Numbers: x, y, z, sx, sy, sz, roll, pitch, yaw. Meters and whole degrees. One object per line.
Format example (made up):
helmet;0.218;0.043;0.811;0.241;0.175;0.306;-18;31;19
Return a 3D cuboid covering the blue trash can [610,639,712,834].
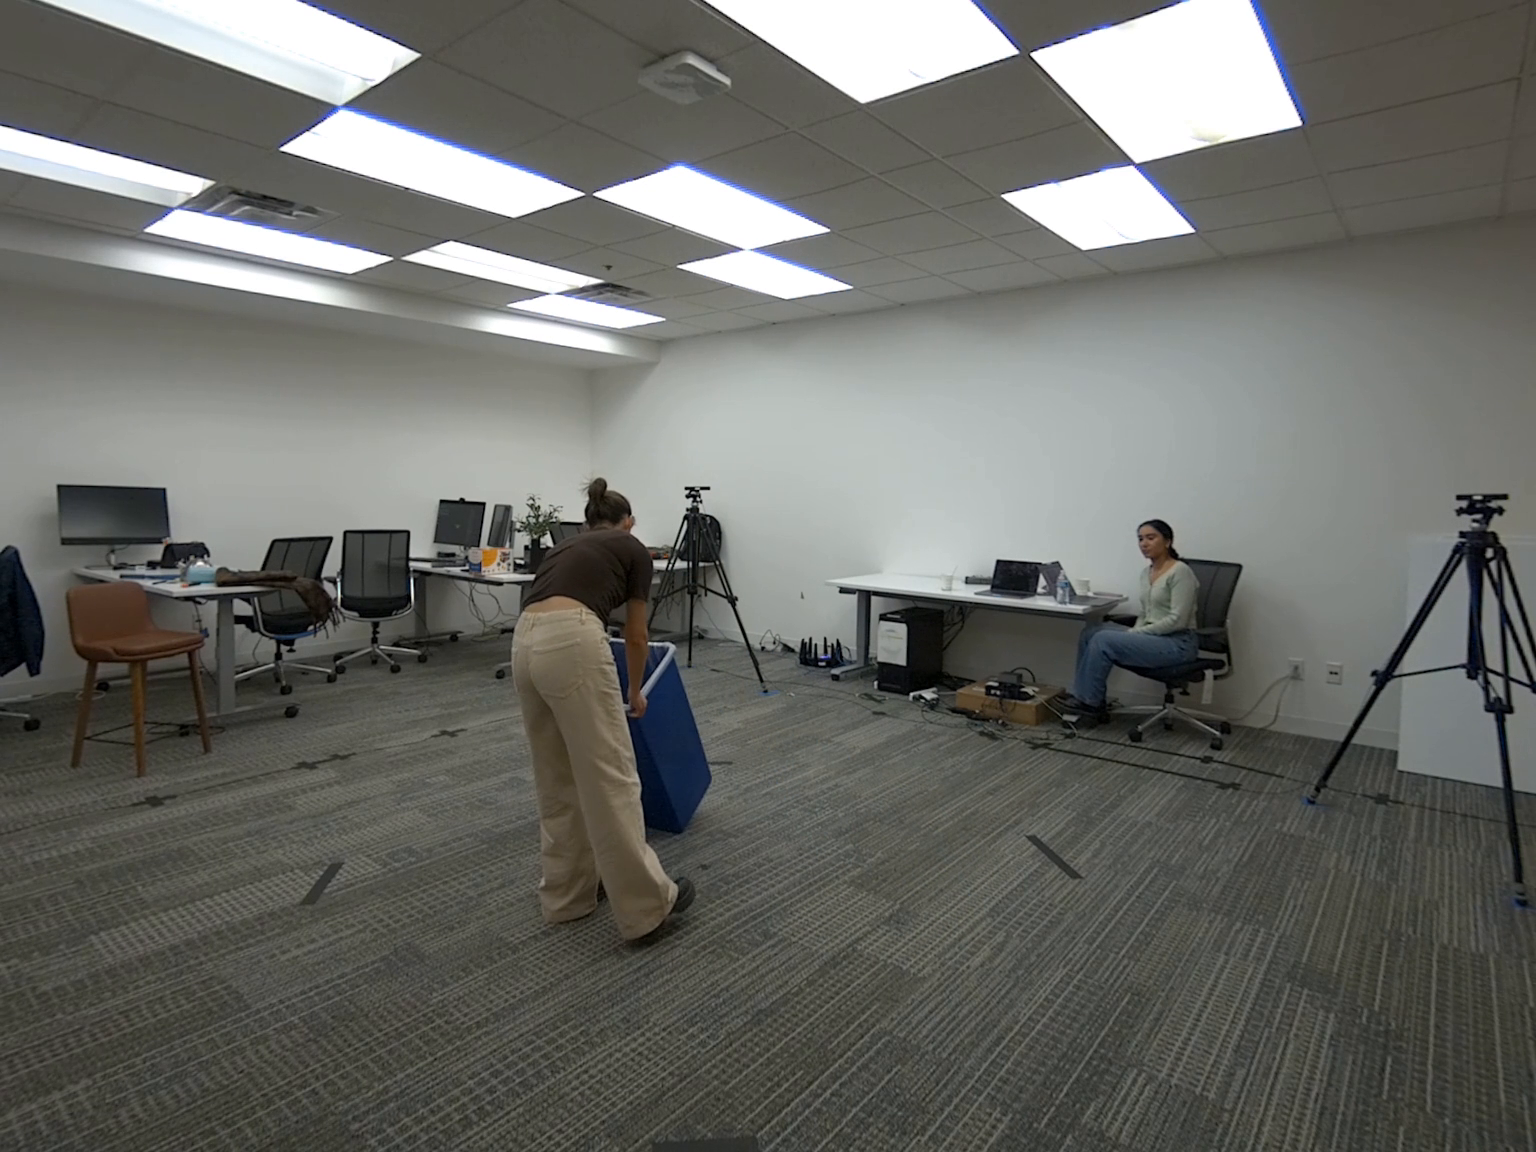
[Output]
blue trash can;-0.510;0.652;3.393;0.388;0.692;0.375;1;33;27
